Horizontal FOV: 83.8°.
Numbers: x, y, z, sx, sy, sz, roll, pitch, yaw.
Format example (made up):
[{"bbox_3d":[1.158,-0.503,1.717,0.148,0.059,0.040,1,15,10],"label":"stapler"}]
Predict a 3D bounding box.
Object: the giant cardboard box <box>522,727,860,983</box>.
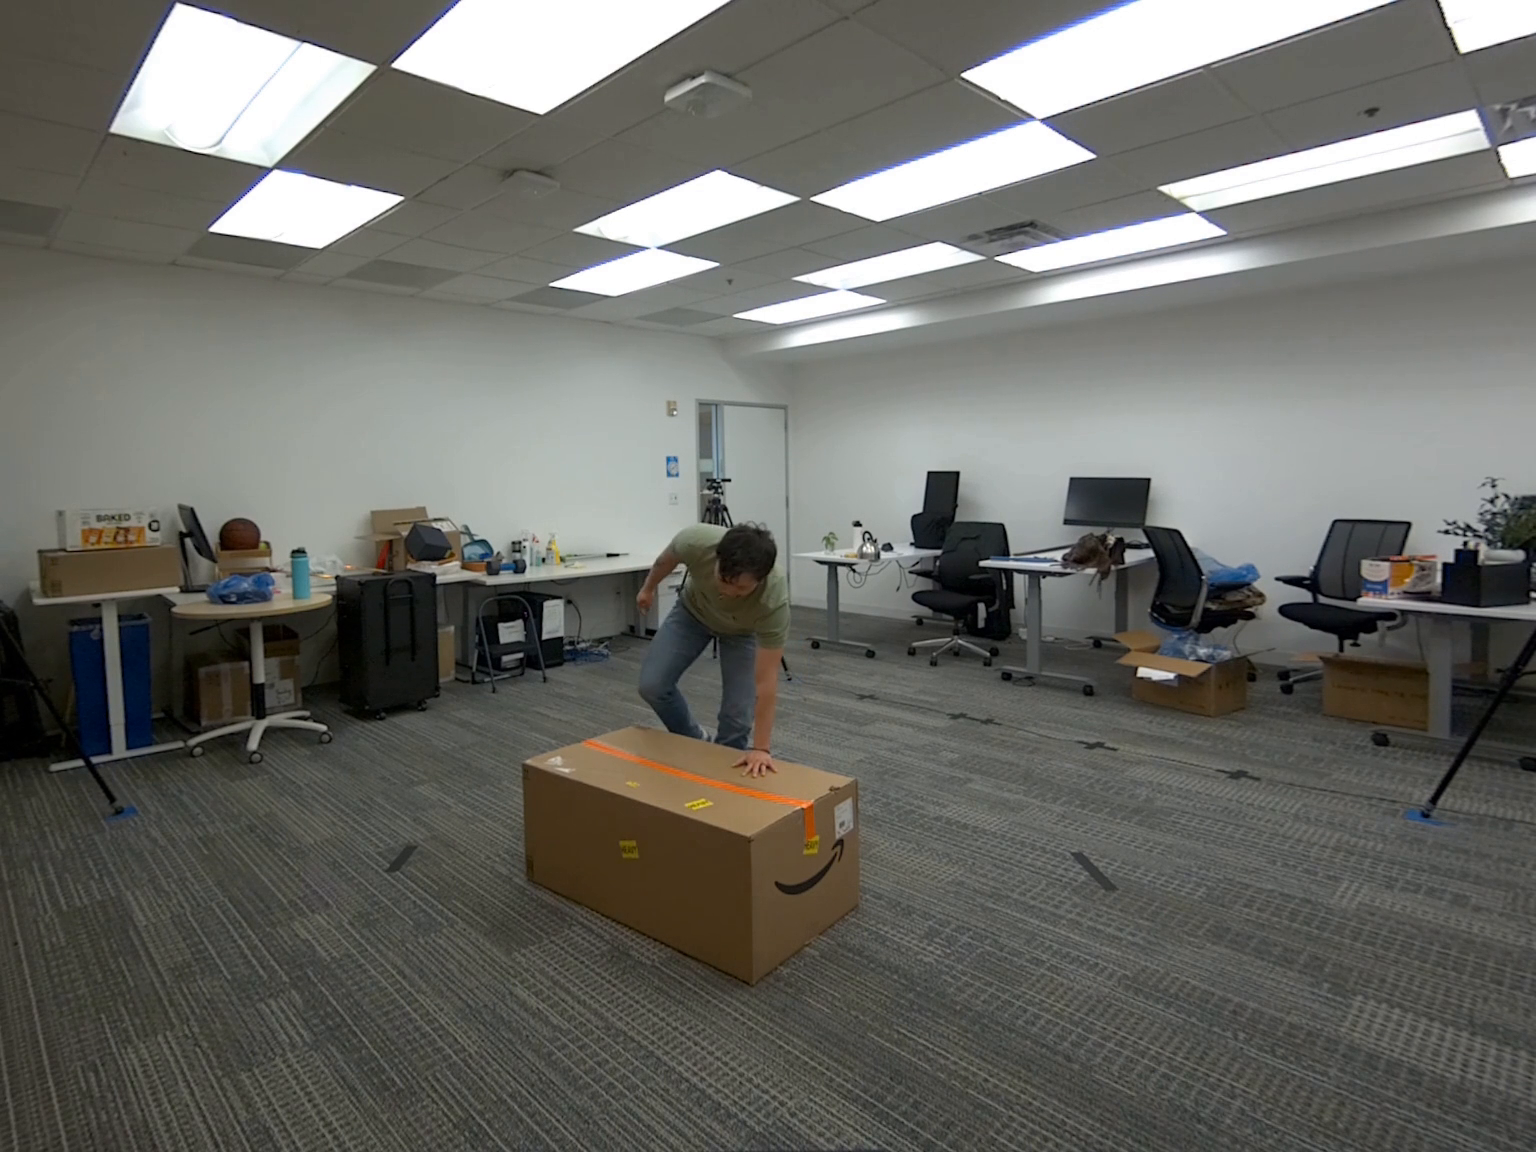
[{"bbox_3d":[-0.279,0.862,2.888,1.057,0.424,0.563,4,8,39],"label":"giant cardboard box"}]
